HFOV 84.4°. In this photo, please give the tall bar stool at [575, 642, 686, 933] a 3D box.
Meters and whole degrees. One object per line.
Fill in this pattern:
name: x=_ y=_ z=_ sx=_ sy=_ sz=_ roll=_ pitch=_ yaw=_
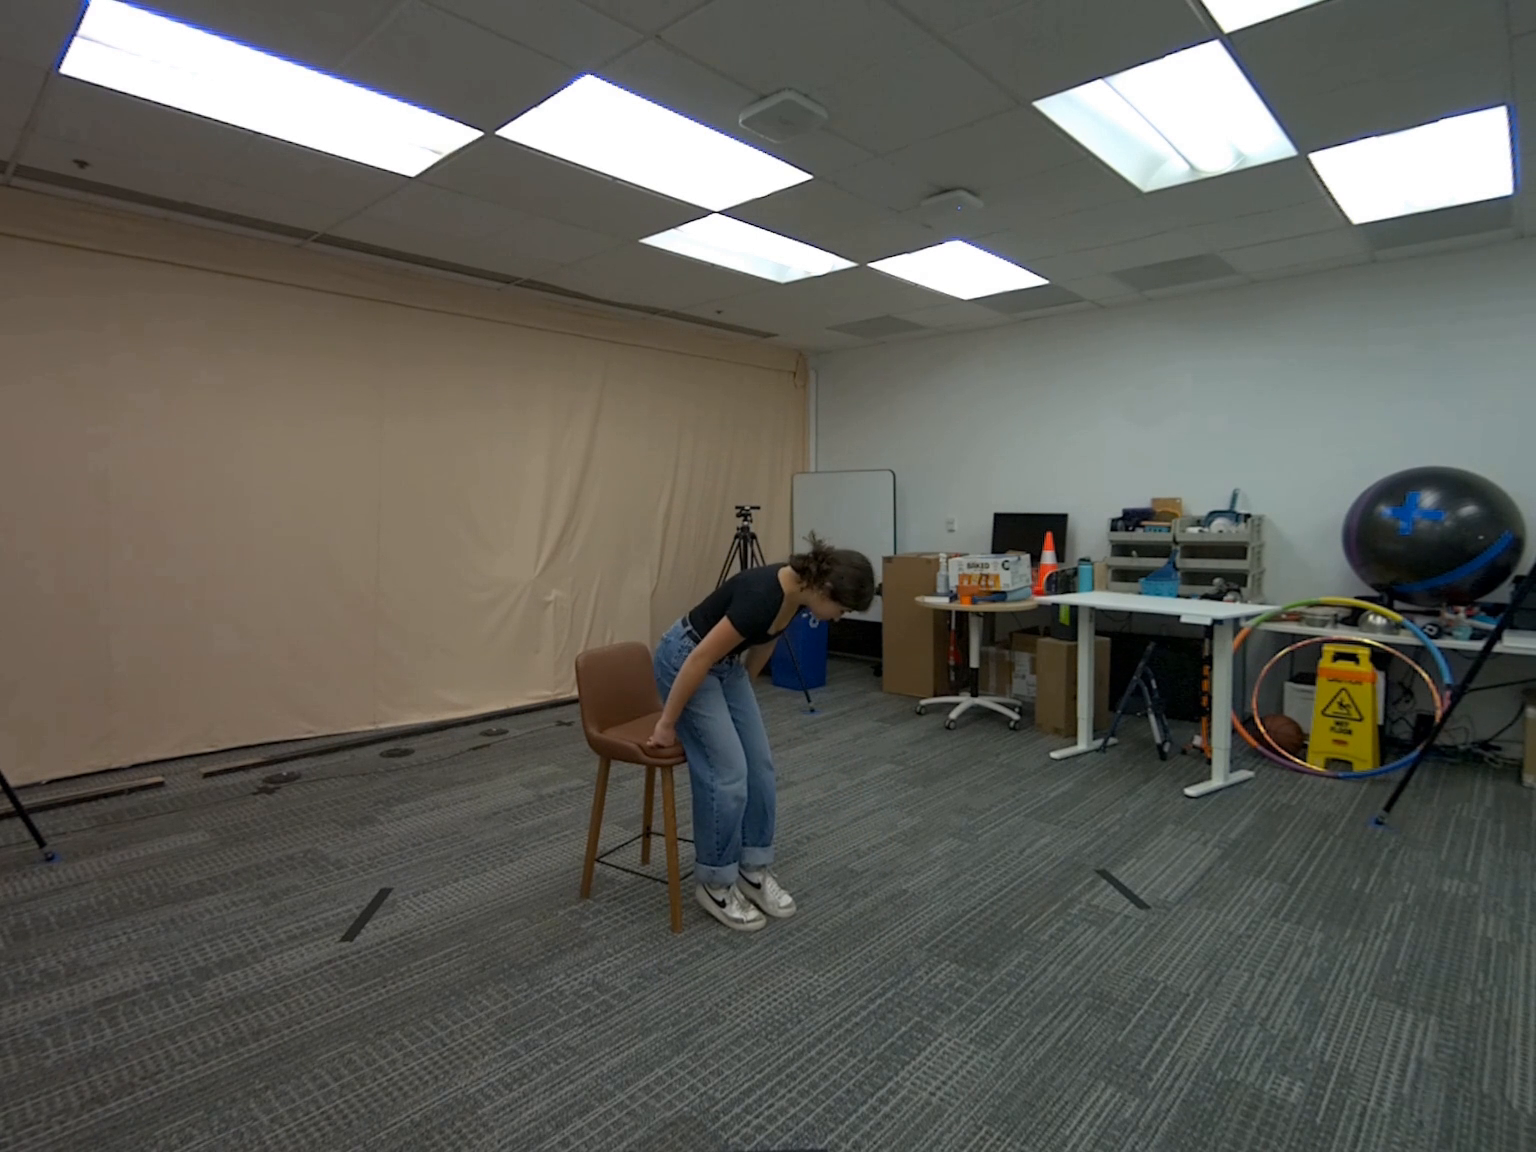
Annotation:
tall bar stool: x=-0.392 y=0.711 z=3.017 sx=0.481 sy=0.888 sz=0.444 roll=0 pitch=3 yaw=33
